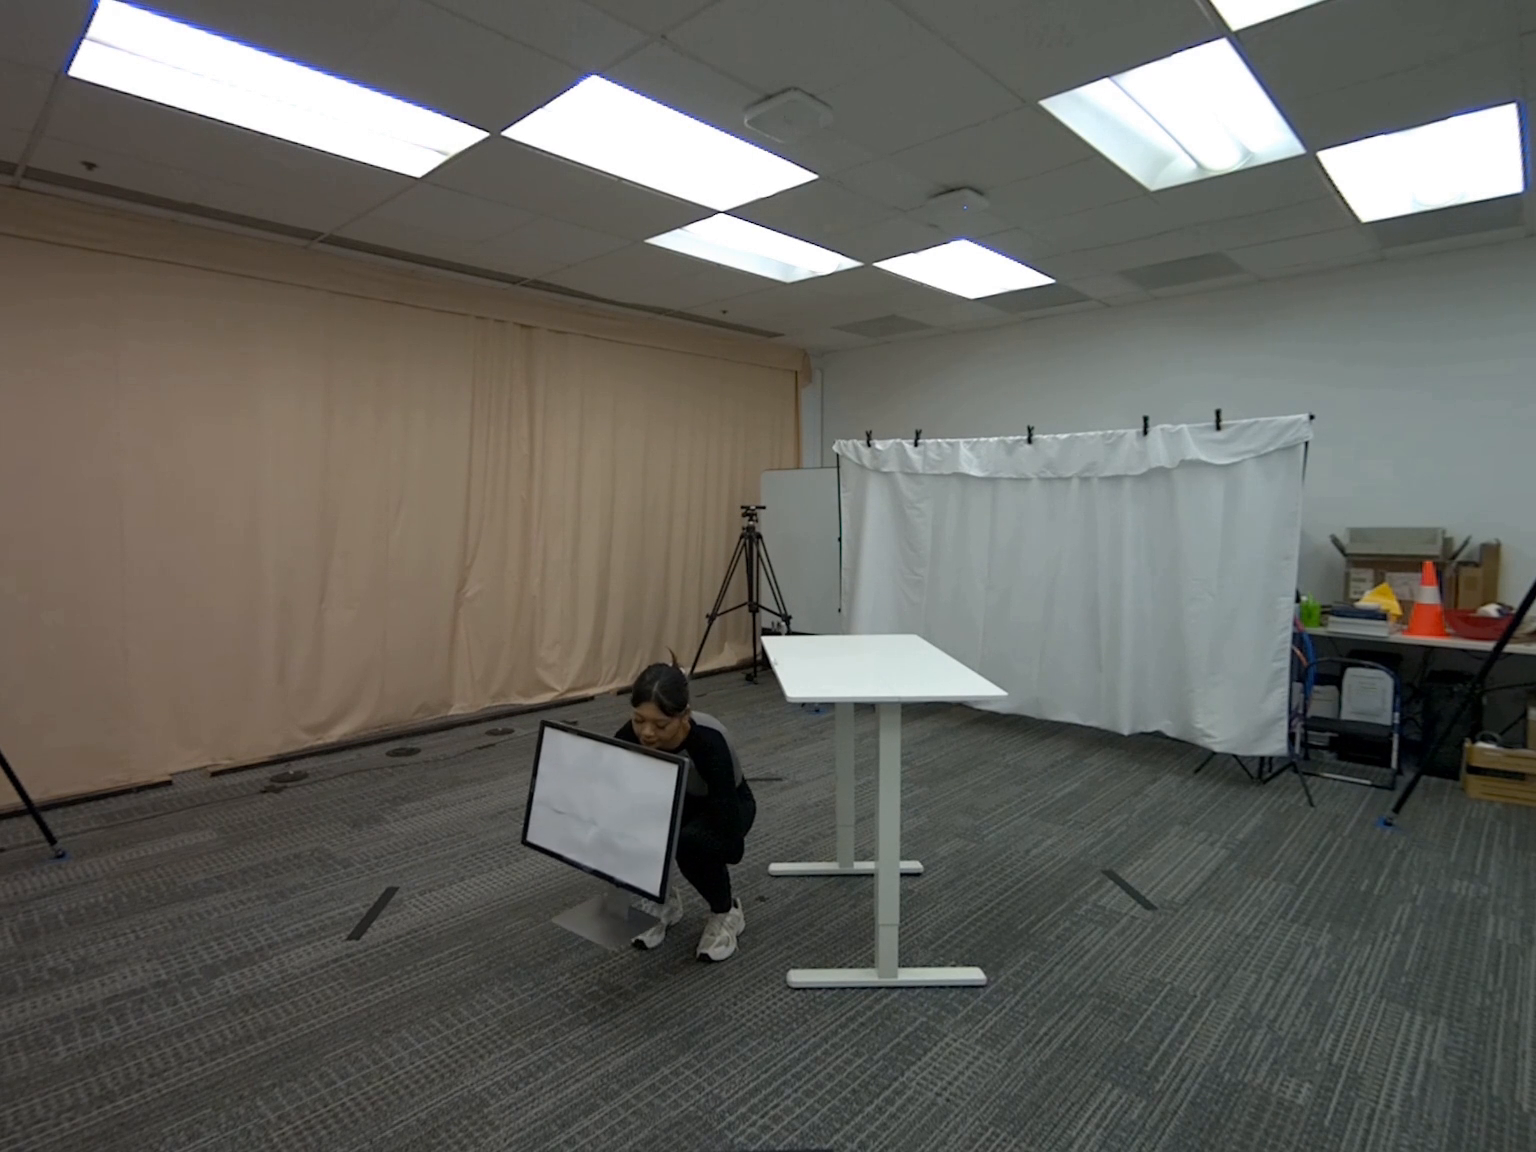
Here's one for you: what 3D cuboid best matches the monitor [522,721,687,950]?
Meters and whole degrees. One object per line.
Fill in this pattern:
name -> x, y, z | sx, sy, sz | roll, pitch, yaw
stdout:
monitor -> -0.444, 0.720, 2.334 | 0.556, 0.521, 0.181 | 4, 4, 34
